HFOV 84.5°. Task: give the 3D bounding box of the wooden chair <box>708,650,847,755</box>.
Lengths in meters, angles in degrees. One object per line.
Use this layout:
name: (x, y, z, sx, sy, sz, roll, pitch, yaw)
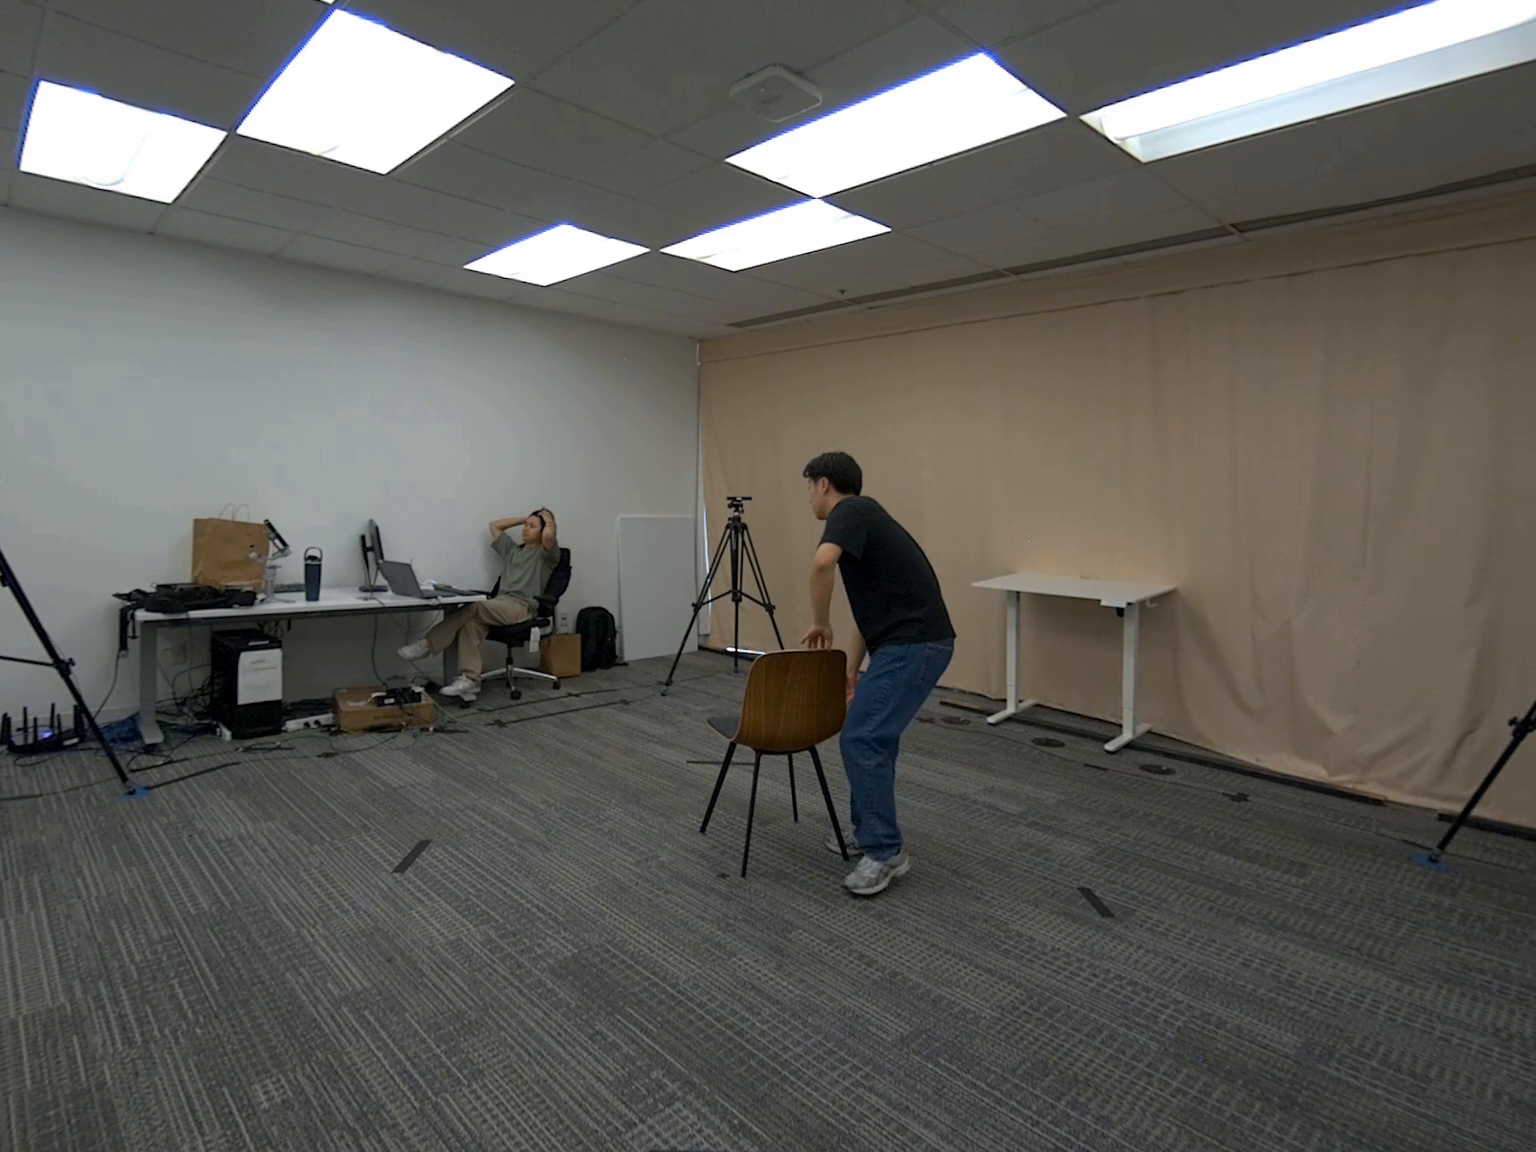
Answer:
wooden chair: (0.015, 0.662, 3.358, 0.470, 0.873, 0.535, 0, 8, -24)
